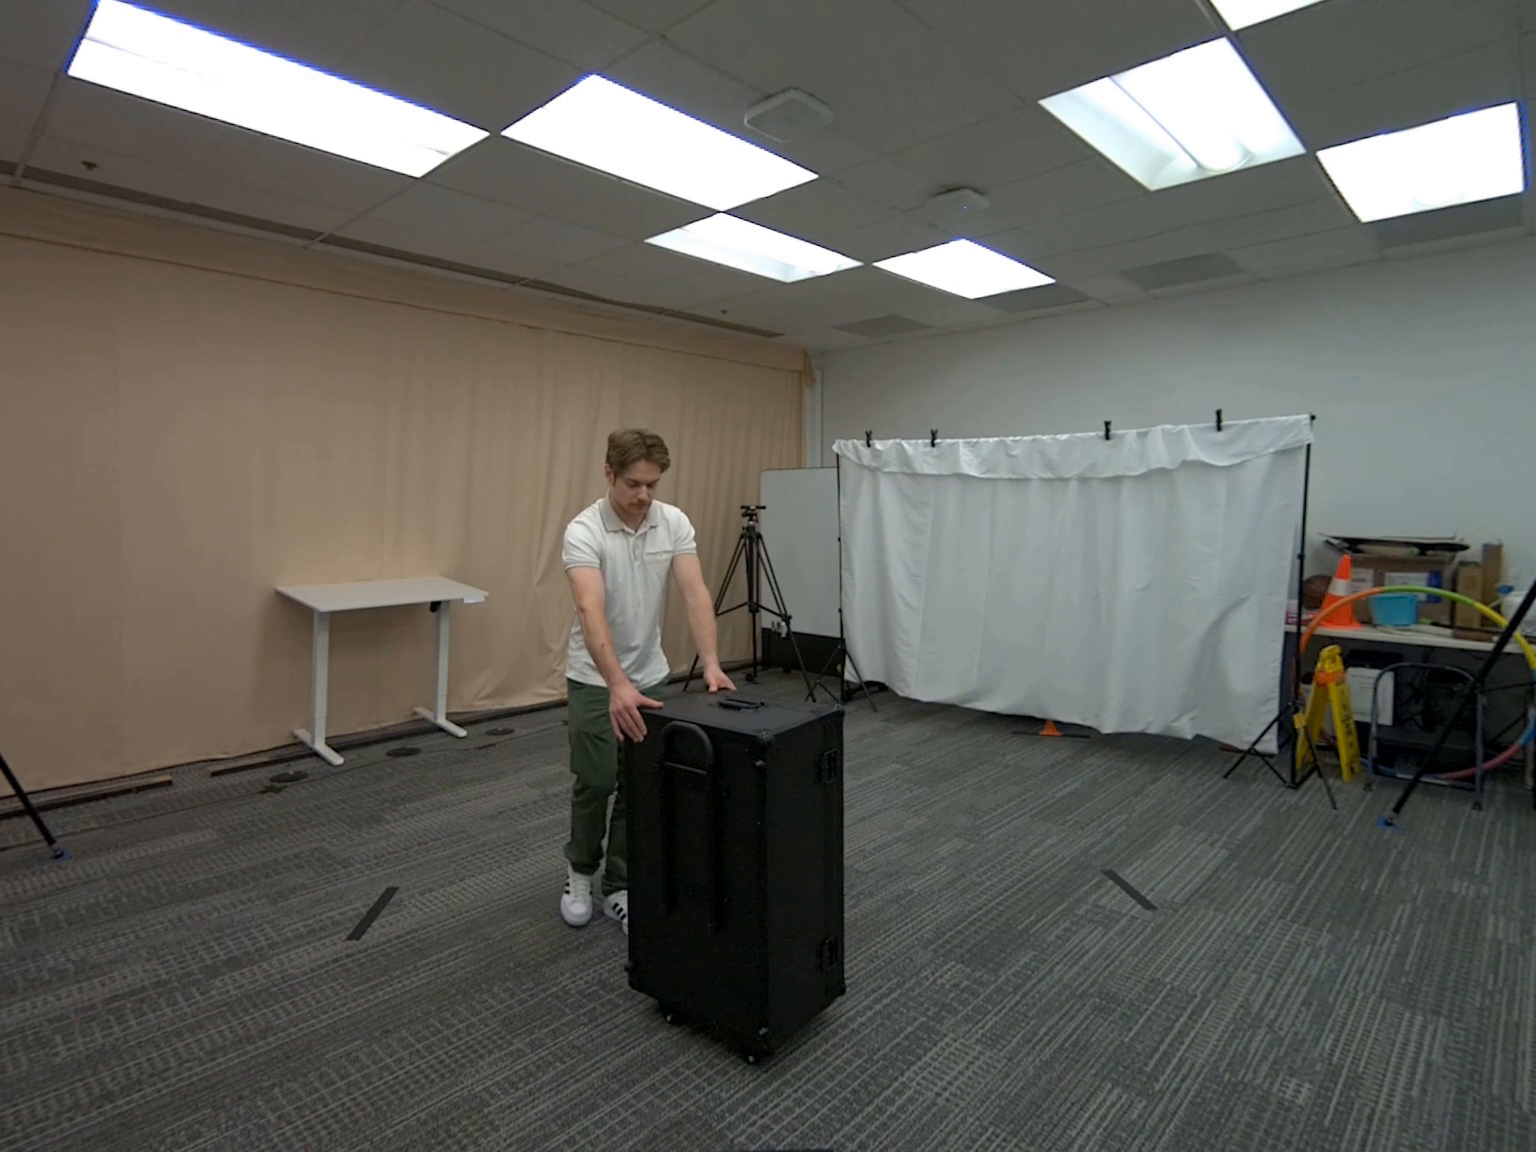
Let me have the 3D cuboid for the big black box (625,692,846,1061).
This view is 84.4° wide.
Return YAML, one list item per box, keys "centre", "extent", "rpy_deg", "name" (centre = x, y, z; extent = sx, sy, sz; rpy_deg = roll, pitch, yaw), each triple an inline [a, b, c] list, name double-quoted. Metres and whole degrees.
- centre: [-0.080, 0.781, 2.271]
  extent: [0.540, 0.866, 0.374]
  rpy_deg: [2, 4, 38]
  name: "big black box"
